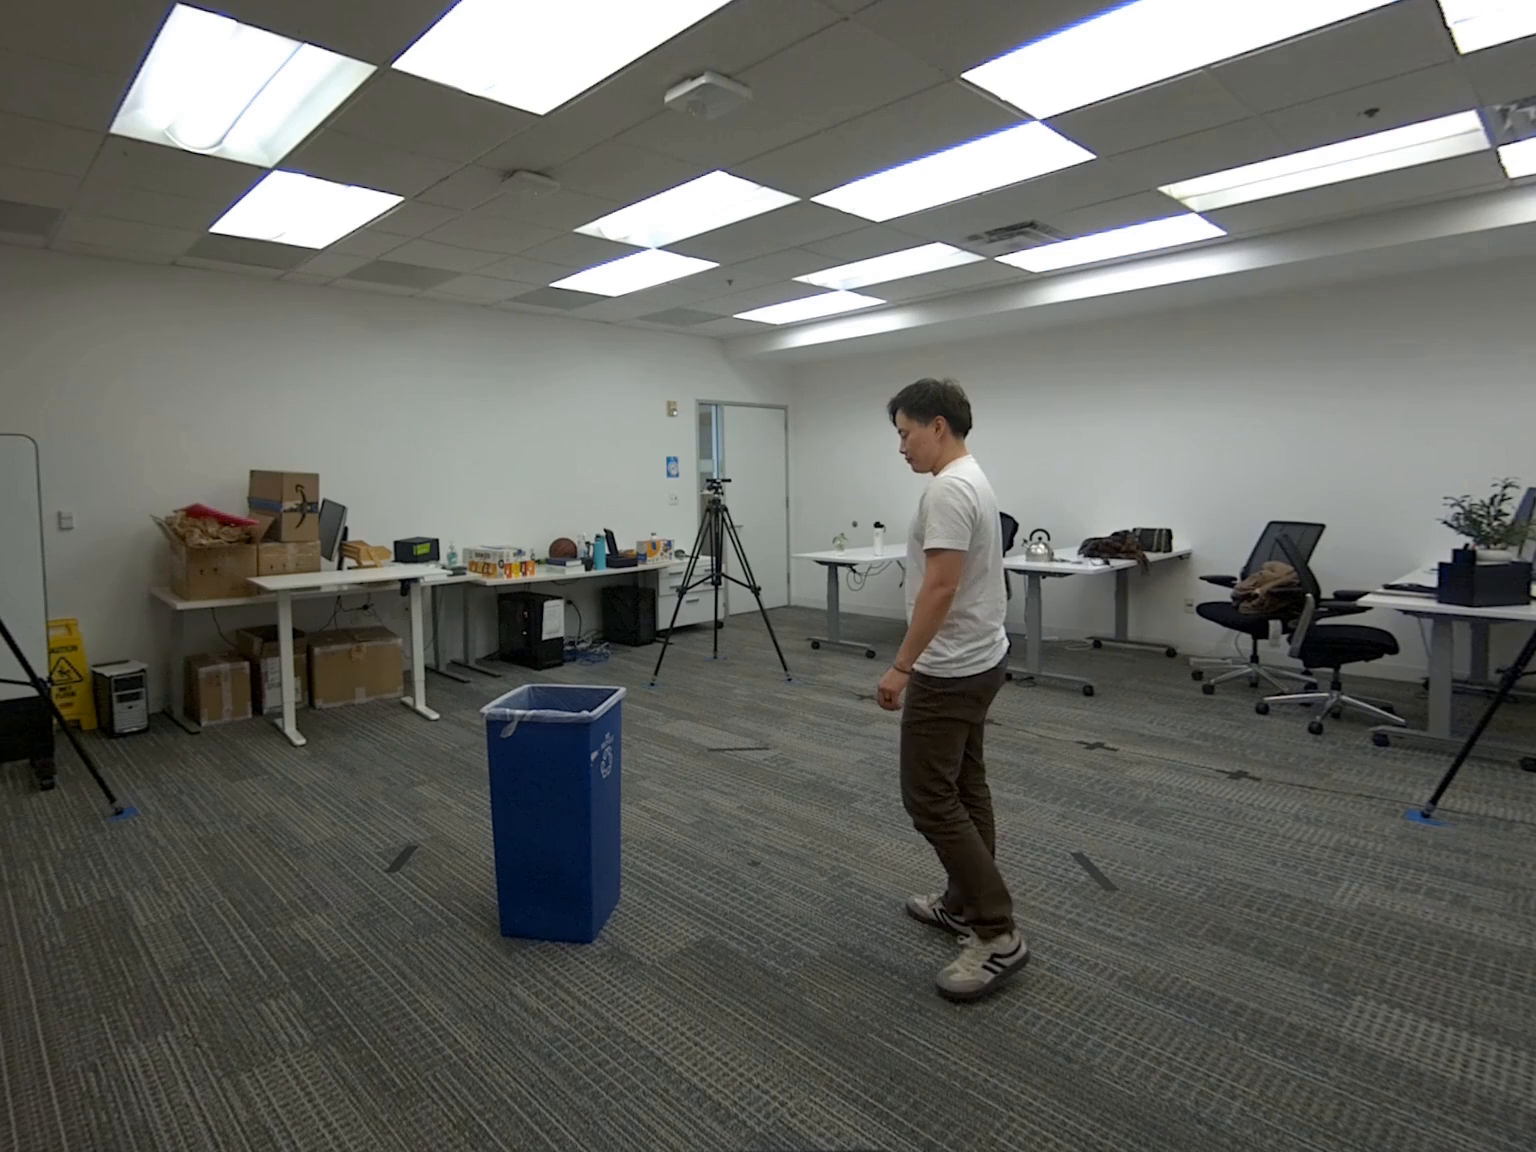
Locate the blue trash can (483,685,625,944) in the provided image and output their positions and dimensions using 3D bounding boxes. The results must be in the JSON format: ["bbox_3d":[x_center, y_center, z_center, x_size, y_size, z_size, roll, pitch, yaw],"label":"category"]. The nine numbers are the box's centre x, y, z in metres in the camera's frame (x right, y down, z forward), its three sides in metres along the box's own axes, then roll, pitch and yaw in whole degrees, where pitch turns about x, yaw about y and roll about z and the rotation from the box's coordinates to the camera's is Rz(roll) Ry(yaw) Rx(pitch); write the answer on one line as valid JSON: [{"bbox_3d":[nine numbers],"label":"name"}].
[{"bbox_3d":[-0.657,0.743,2.730,0.377,0.711,0.376,-1,4,9],"label":"blue trash can"}]
